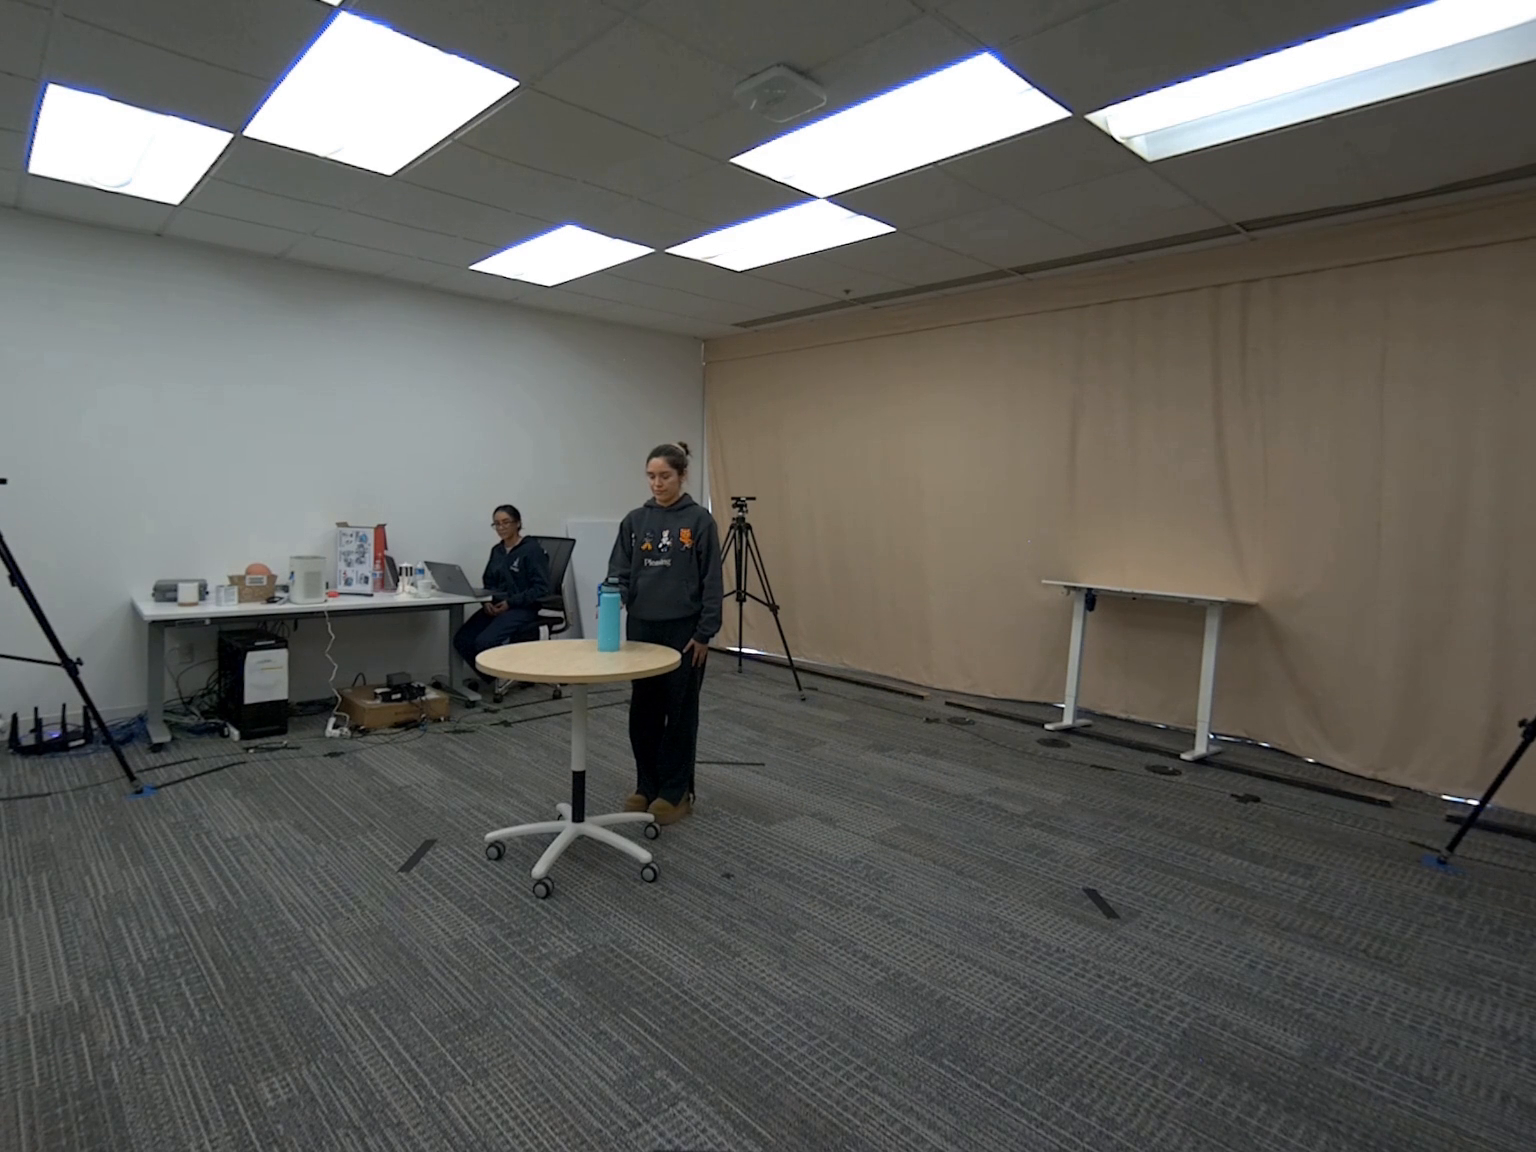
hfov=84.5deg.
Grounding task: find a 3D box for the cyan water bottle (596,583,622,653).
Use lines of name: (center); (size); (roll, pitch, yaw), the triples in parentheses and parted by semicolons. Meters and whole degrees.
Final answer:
cyan water bottle: (-0.653, 0.152, 3.338); (0.092, 0.283, 0.092); (0, 3, -1)
